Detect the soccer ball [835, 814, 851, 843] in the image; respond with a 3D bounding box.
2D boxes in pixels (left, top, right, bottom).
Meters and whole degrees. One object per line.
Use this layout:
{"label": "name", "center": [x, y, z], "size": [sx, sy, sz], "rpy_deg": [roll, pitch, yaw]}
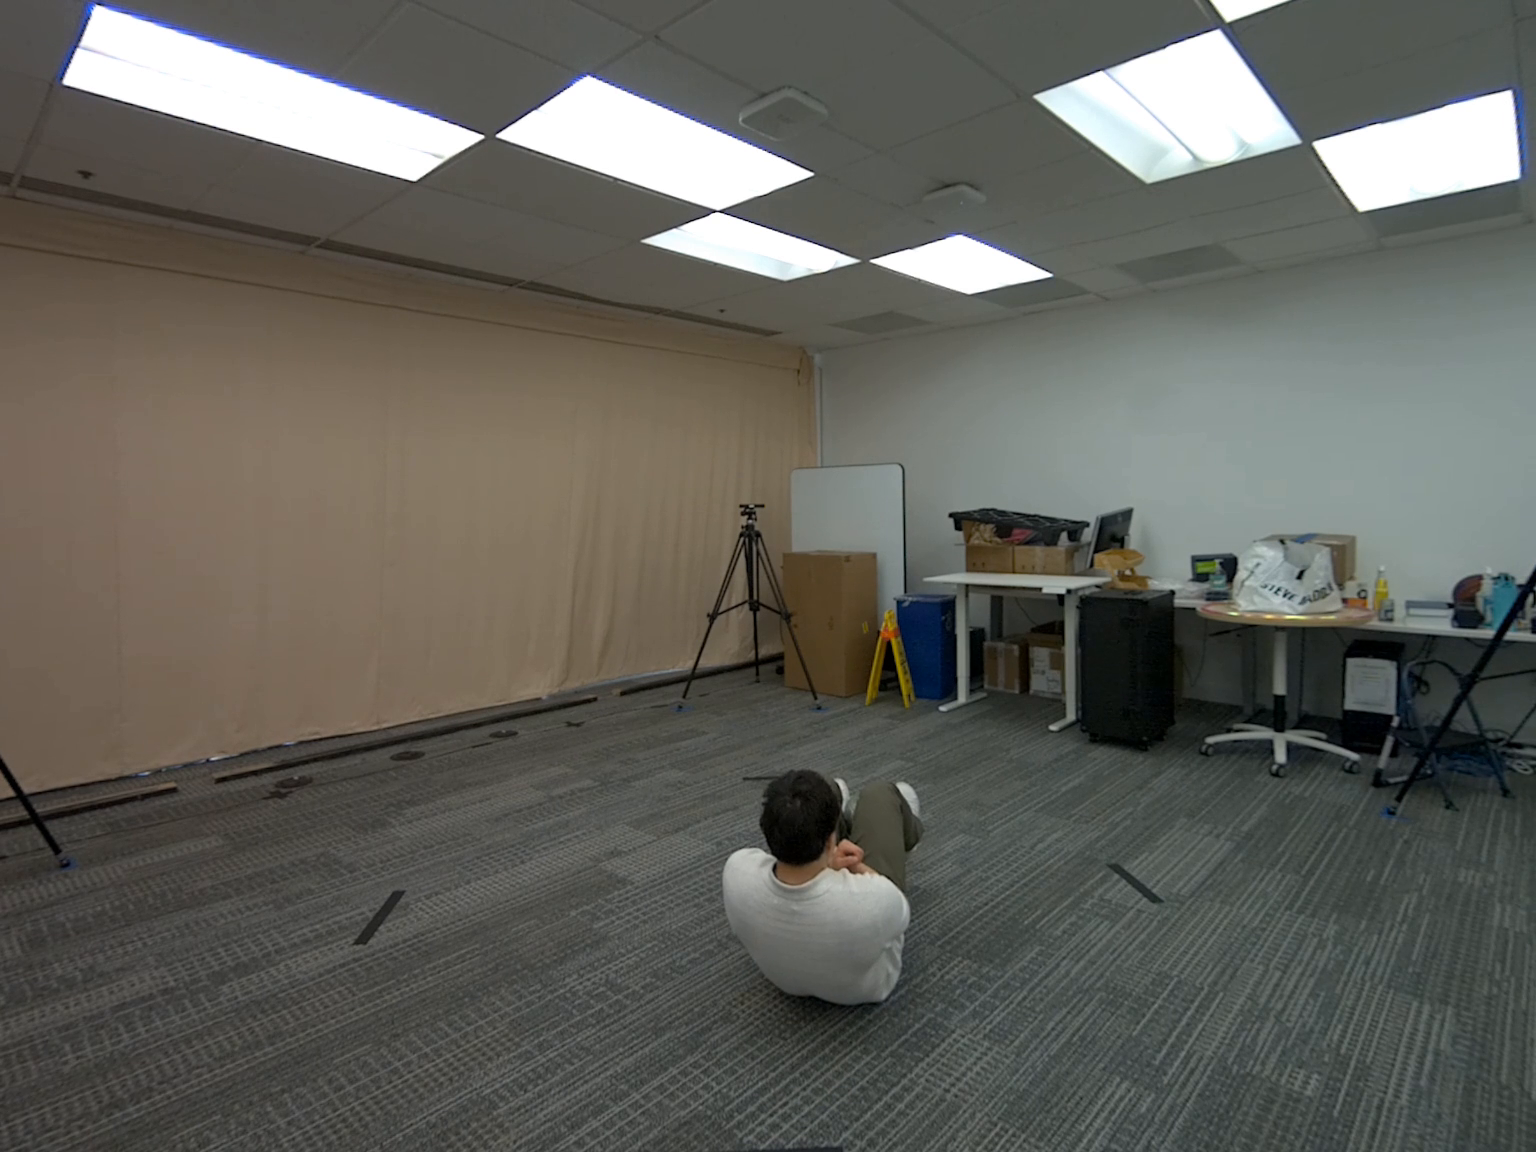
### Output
{"label": "soccer ball", "center": [0.372, 0.863, 2.982], "size": [0.187, 0.187, 0.188], "rpy_deg": [-1, 4, -2]}
